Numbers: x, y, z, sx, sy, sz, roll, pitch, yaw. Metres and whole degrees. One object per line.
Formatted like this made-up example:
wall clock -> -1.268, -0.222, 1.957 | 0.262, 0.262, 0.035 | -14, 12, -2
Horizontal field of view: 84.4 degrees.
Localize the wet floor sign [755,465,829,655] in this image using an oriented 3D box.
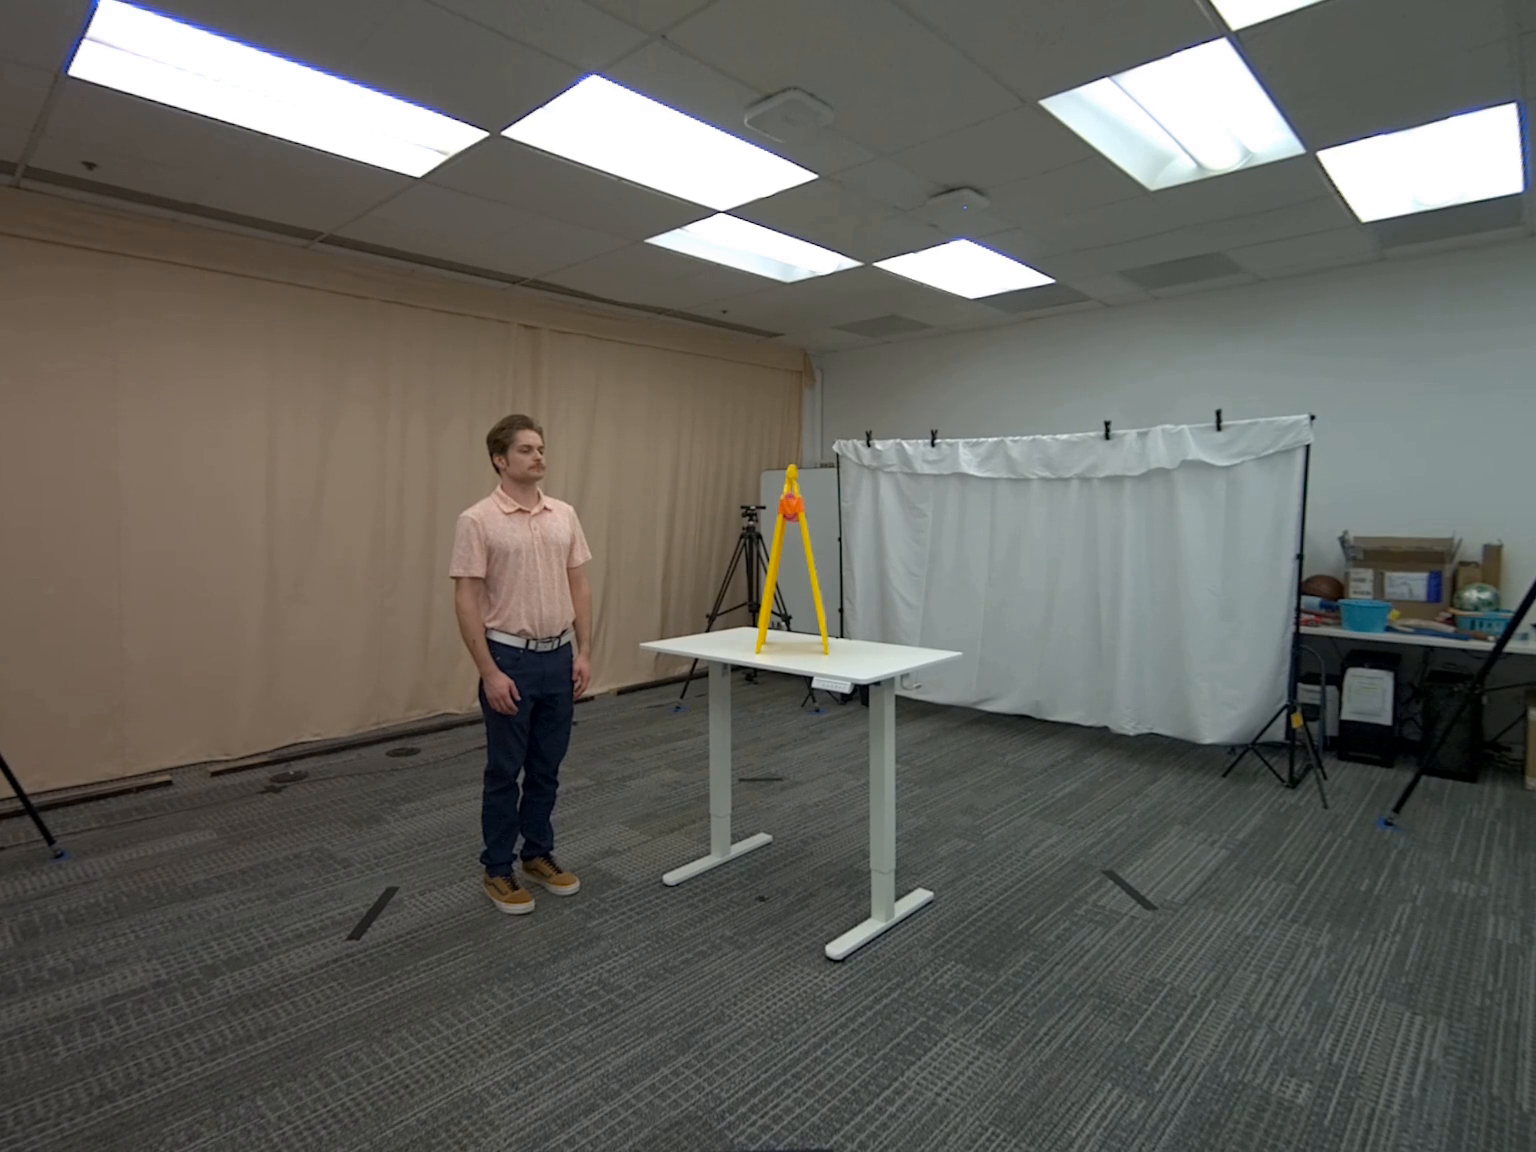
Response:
wet floor sign -> 0.090, -0.064, 2.996 | 0.291, 0.645, 0.281 | -1, 1, 5
